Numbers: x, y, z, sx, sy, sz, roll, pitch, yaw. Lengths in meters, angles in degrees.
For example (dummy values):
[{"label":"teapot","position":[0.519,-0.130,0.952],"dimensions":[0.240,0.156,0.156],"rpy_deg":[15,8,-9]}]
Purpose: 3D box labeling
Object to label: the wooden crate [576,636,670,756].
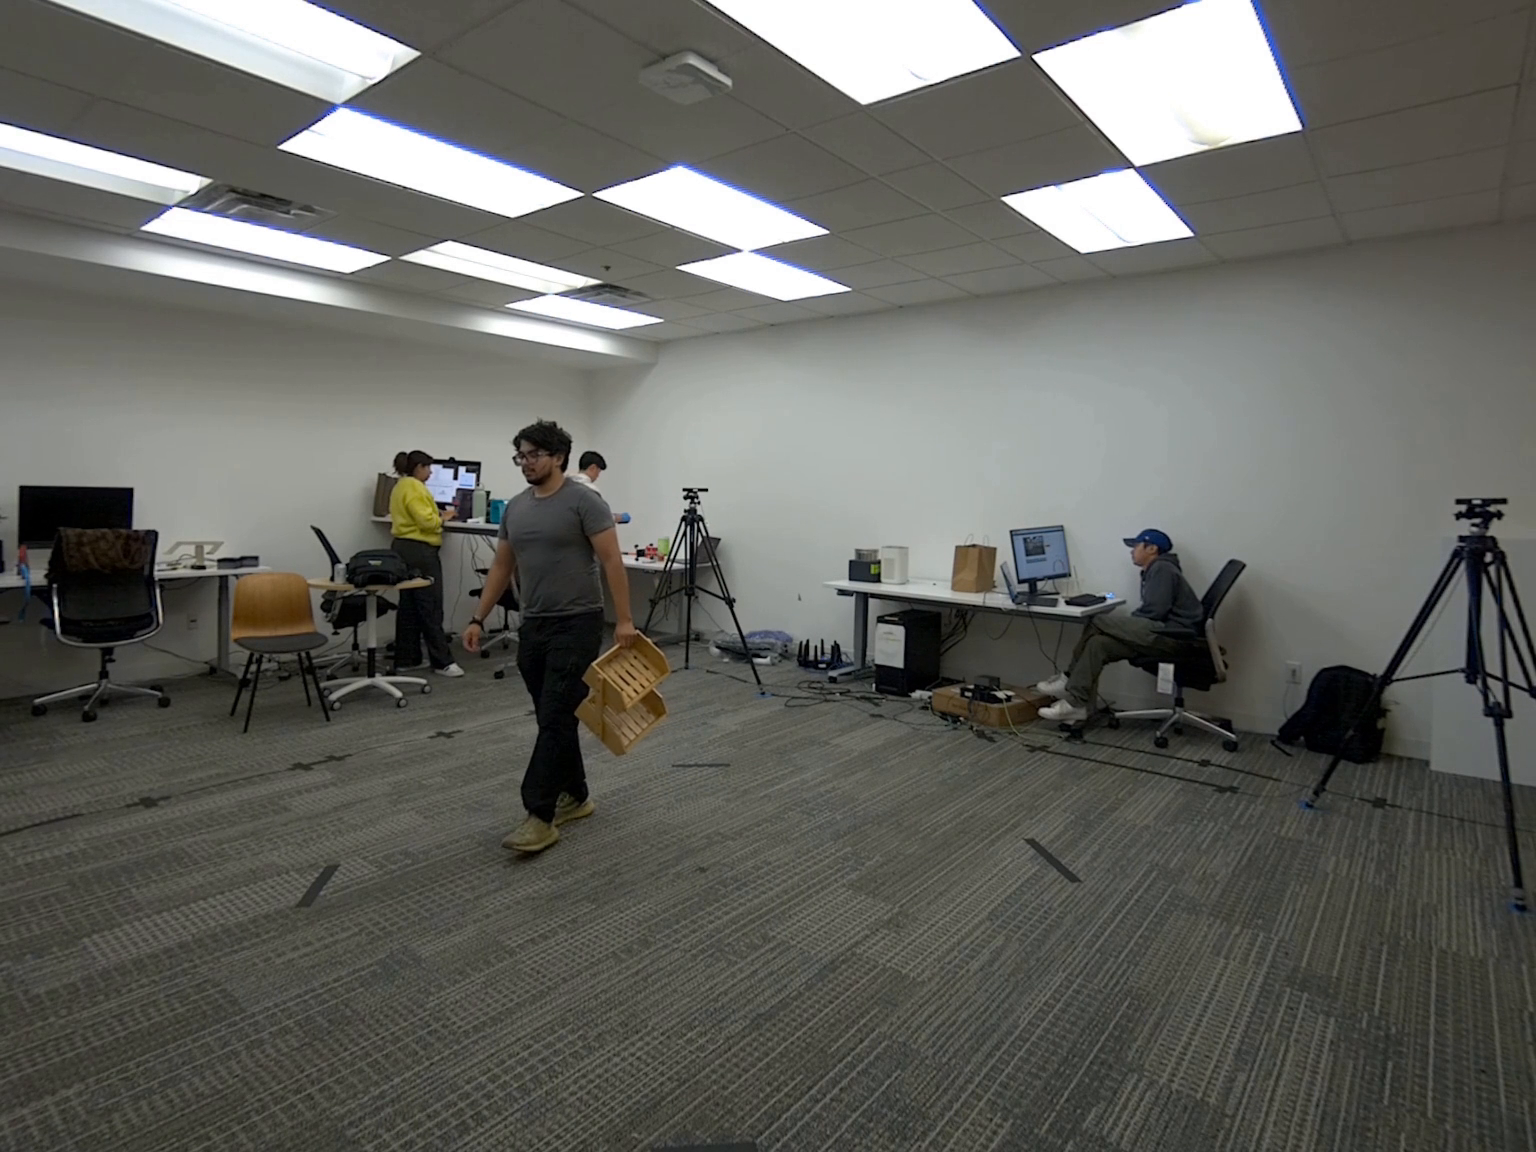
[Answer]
[{"label":"wooden crate","position":[-0.536,0.445,3.247],"dimensions":[0.306,0.272,0.321],"rpy_deg":[42,34,8]}]
